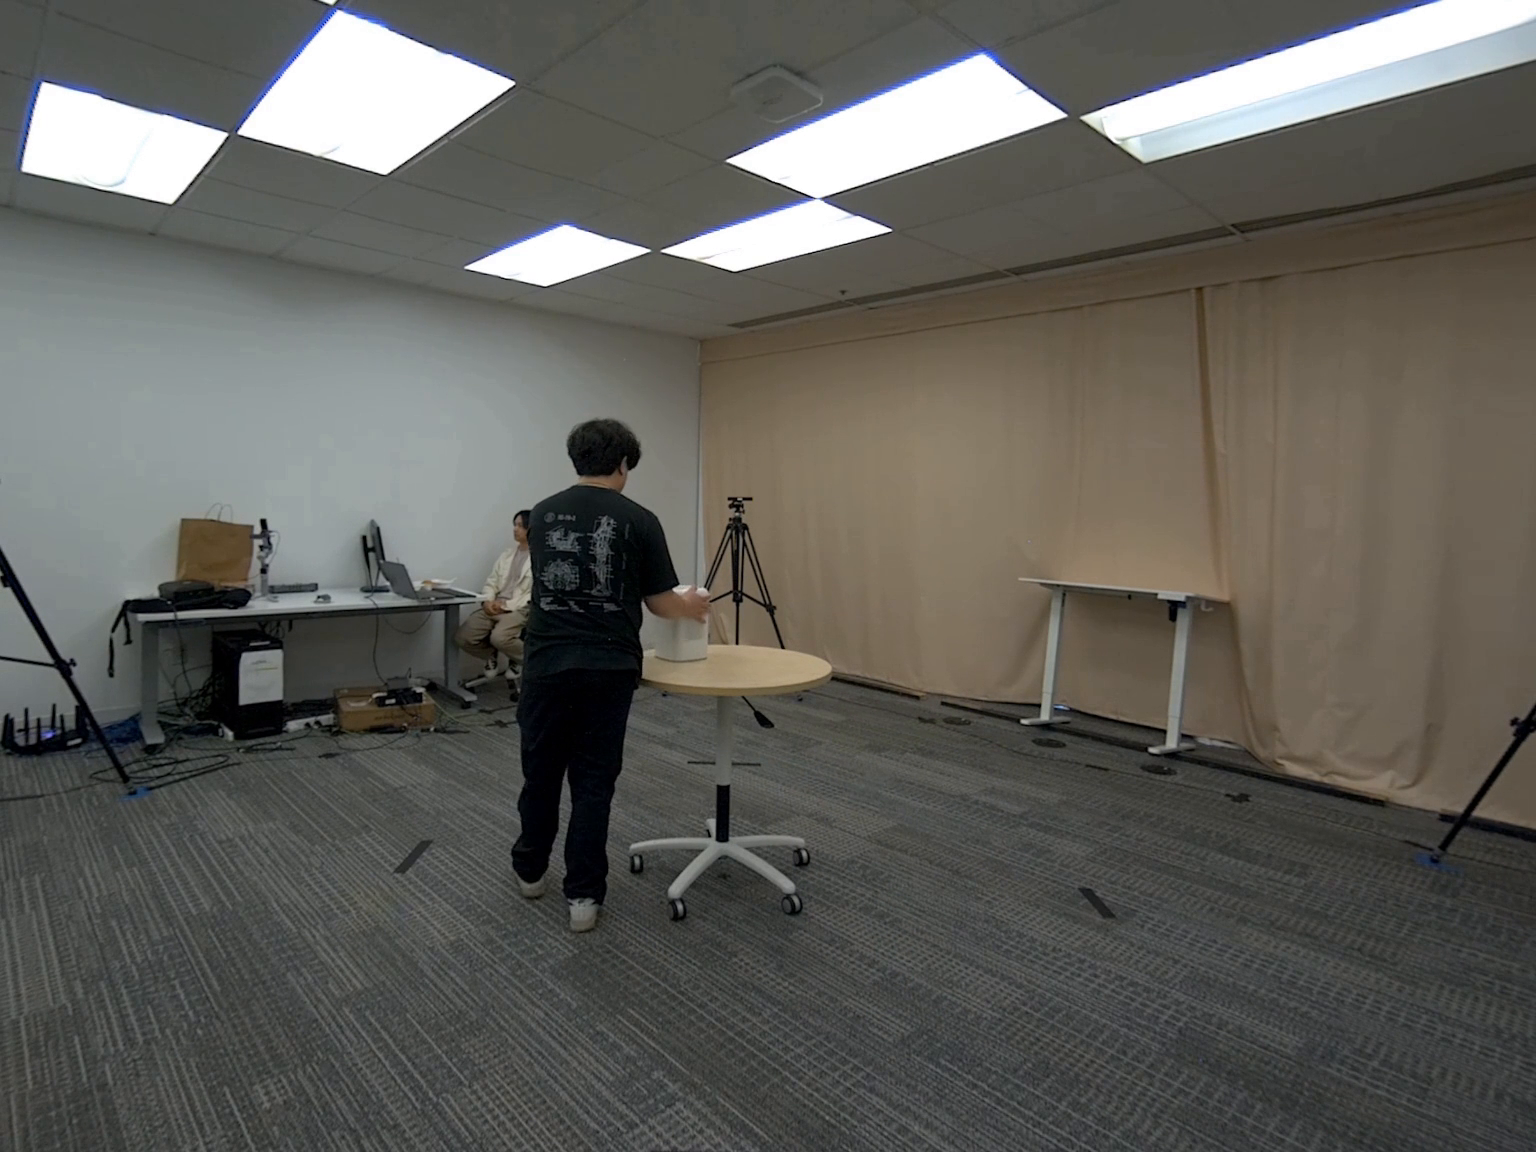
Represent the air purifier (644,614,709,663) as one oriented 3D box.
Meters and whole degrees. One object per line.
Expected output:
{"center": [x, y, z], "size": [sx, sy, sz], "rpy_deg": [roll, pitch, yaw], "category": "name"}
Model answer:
{"center": [-0.328, 0.174, 3.149], "size": [0.168, 0.265, 0.175], "rpy_deg": [-2, 4, -40], "category": "air purifier"}
